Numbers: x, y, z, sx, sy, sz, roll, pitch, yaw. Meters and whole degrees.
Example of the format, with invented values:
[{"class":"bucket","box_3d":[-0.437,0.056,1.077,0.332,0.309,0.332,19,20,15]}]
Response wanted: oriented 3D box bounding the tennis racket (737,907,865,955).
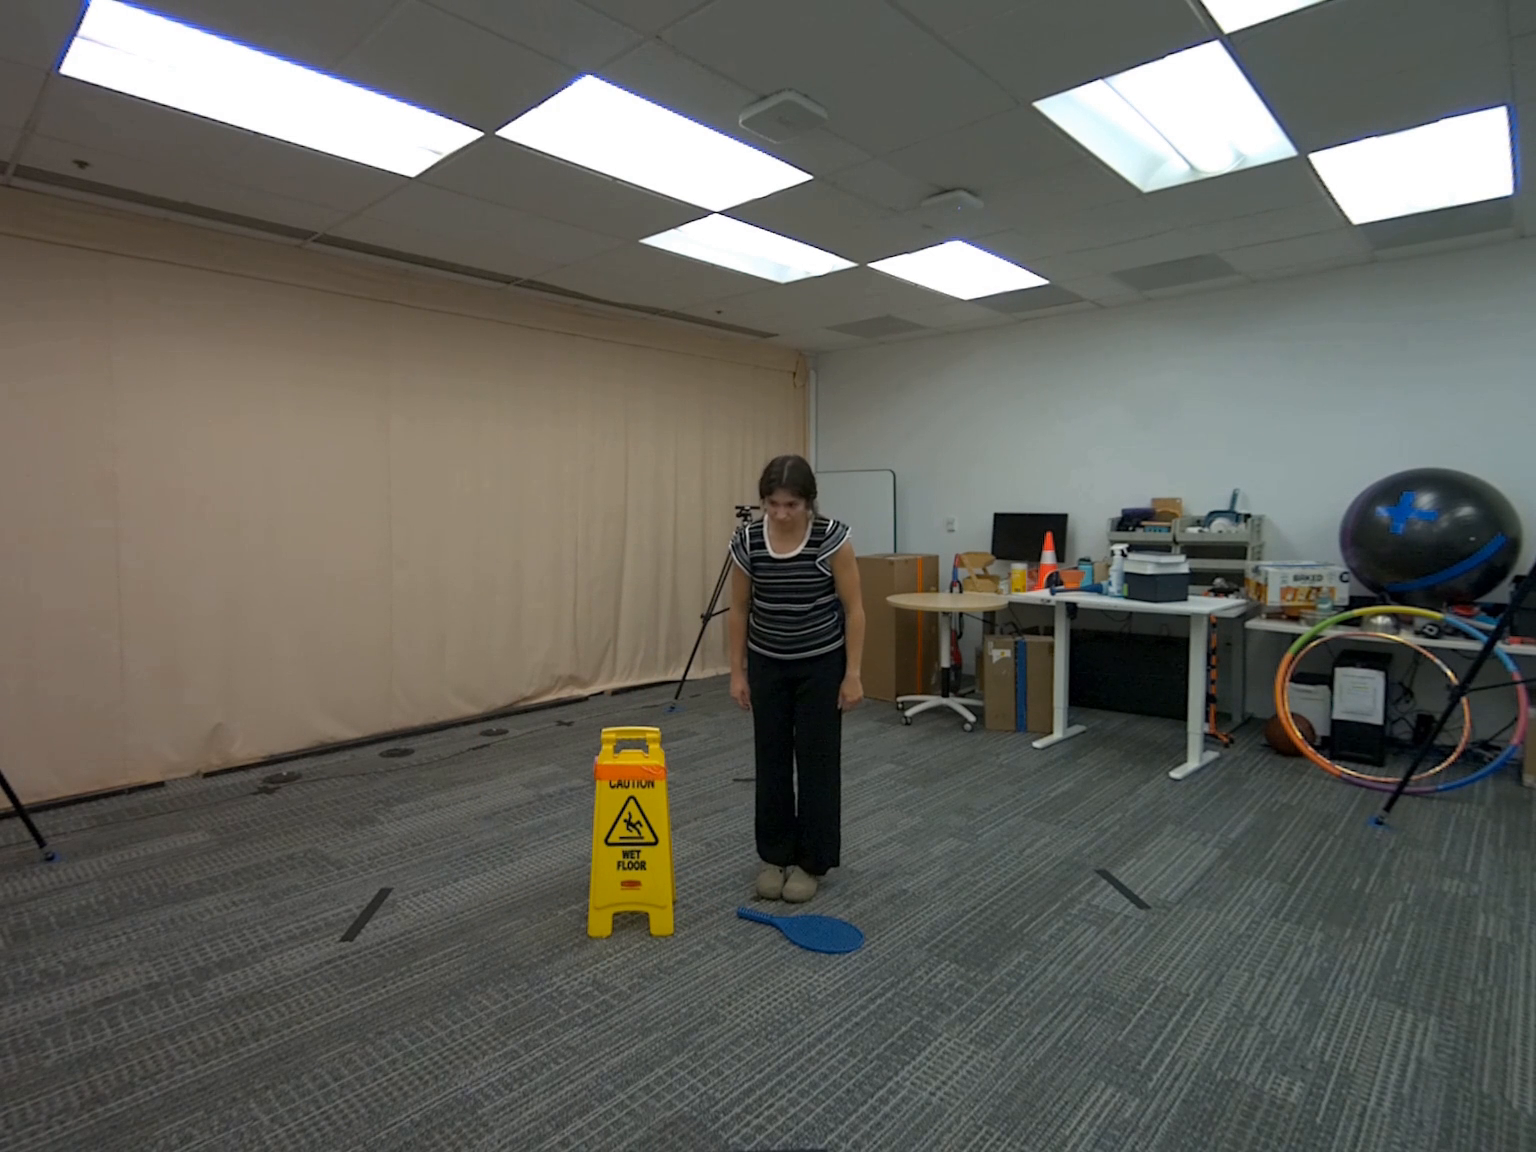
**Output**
[{"class":"tennis racket","box_3d":[0.100,1.141,2.763,0.444,0.031,0.209,4,6,23]}]
